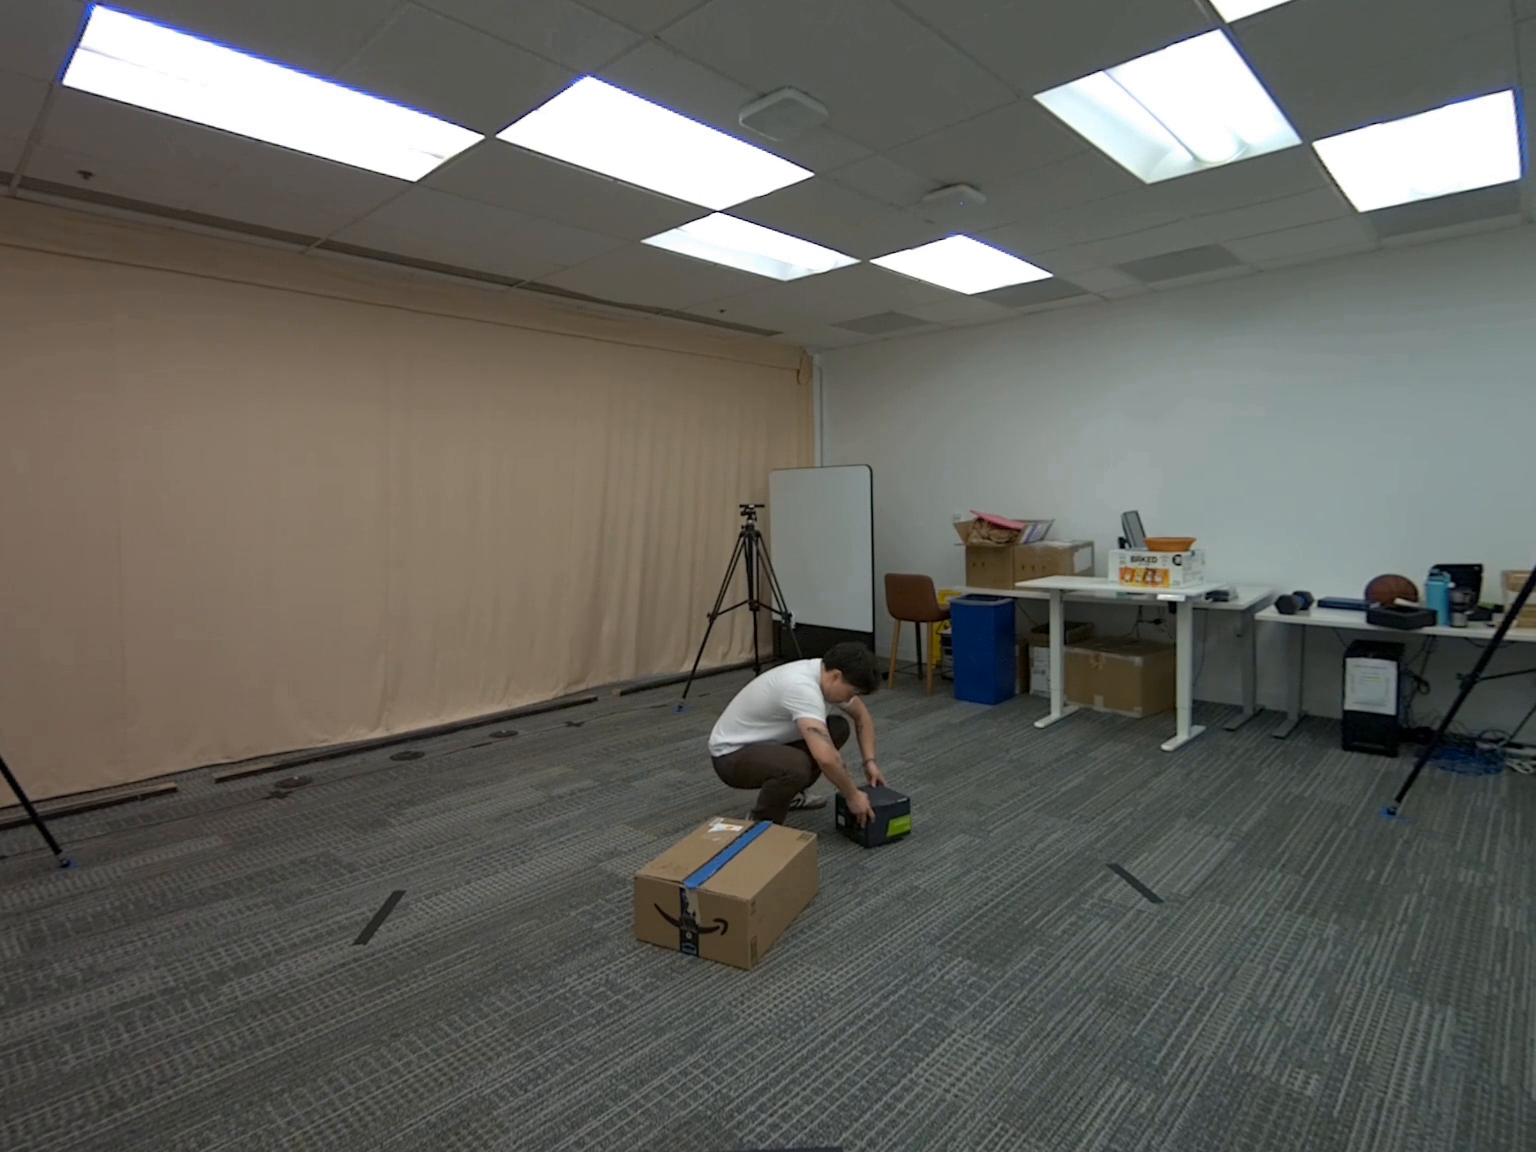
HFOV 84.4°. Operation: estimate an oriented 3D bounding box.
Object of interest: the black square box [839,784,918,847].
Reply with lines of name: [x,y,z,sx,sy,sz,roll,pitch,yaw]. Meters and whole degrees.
black square box: [0.451,0.974,3.490,0.222,0.155,0.223,-3,4,-32]
